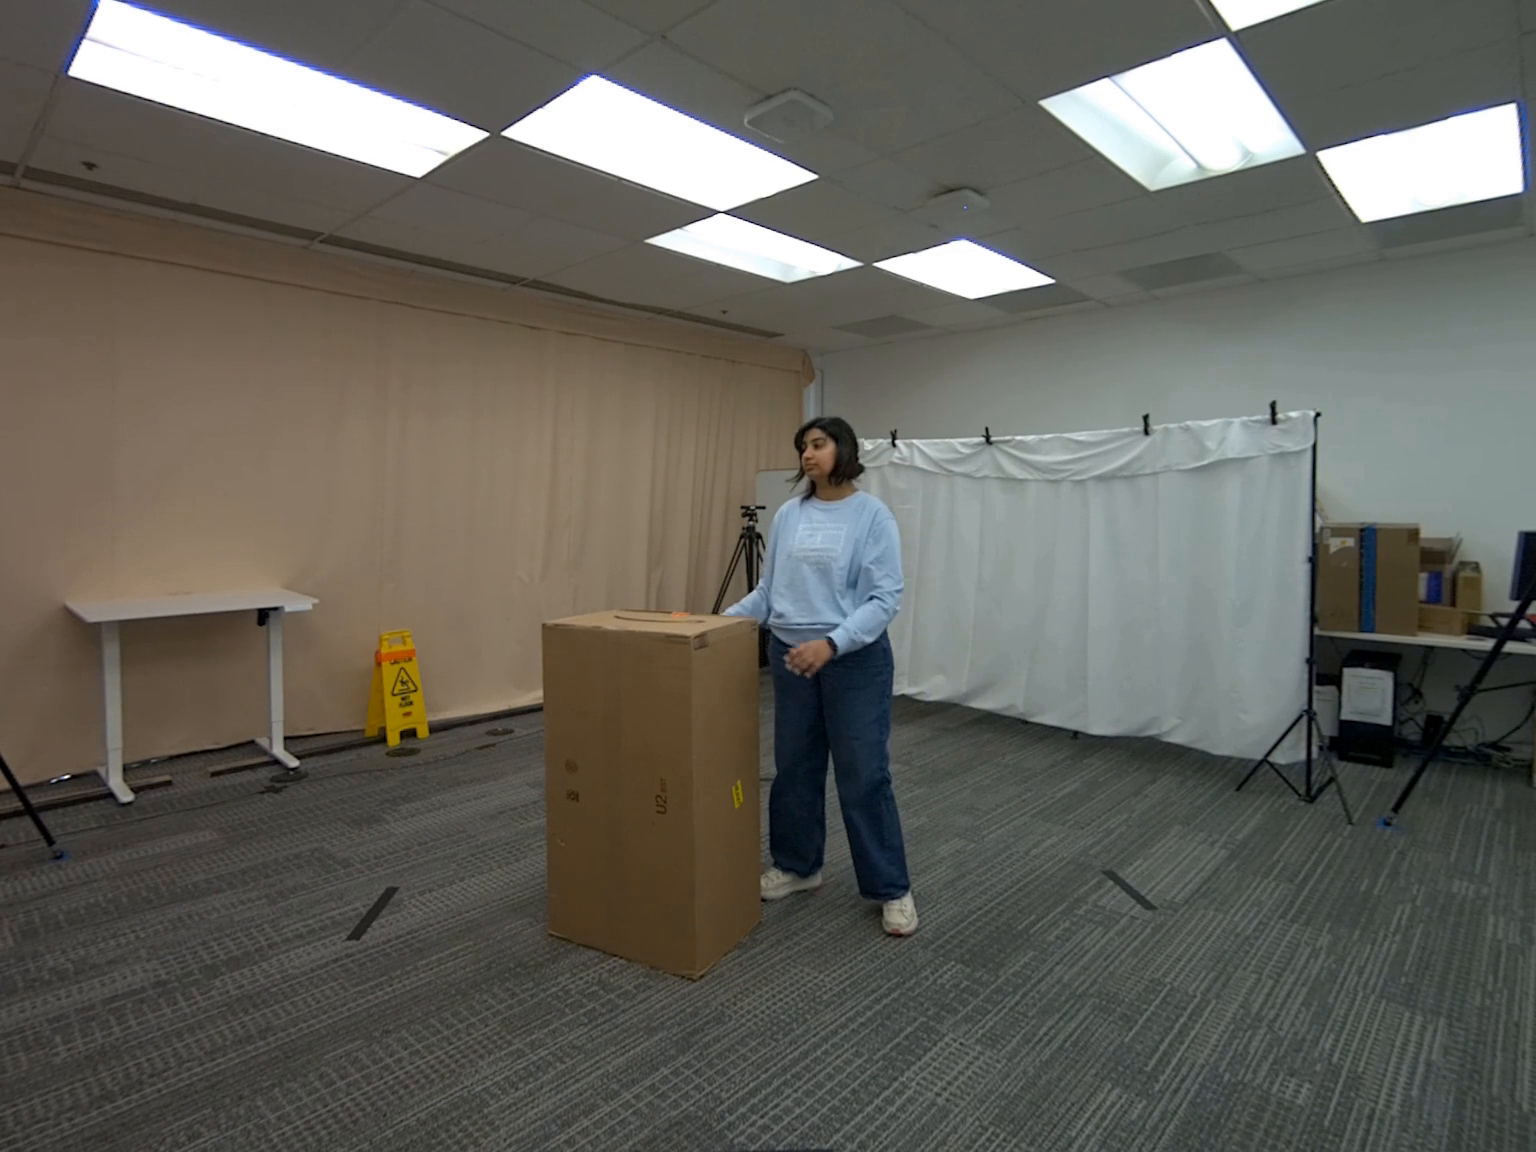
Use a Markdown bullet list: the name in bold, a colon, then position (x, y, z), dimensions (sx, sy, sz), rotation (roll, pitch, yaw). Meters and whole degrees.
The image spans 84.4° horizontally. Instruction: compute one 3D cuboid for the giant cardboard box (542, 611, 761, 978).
- **giant cardboard box**: position (-0.378, 0.660, 2.766), dimensions (0.600, 1.025, 0.435), rotation (1, 3, 28)
